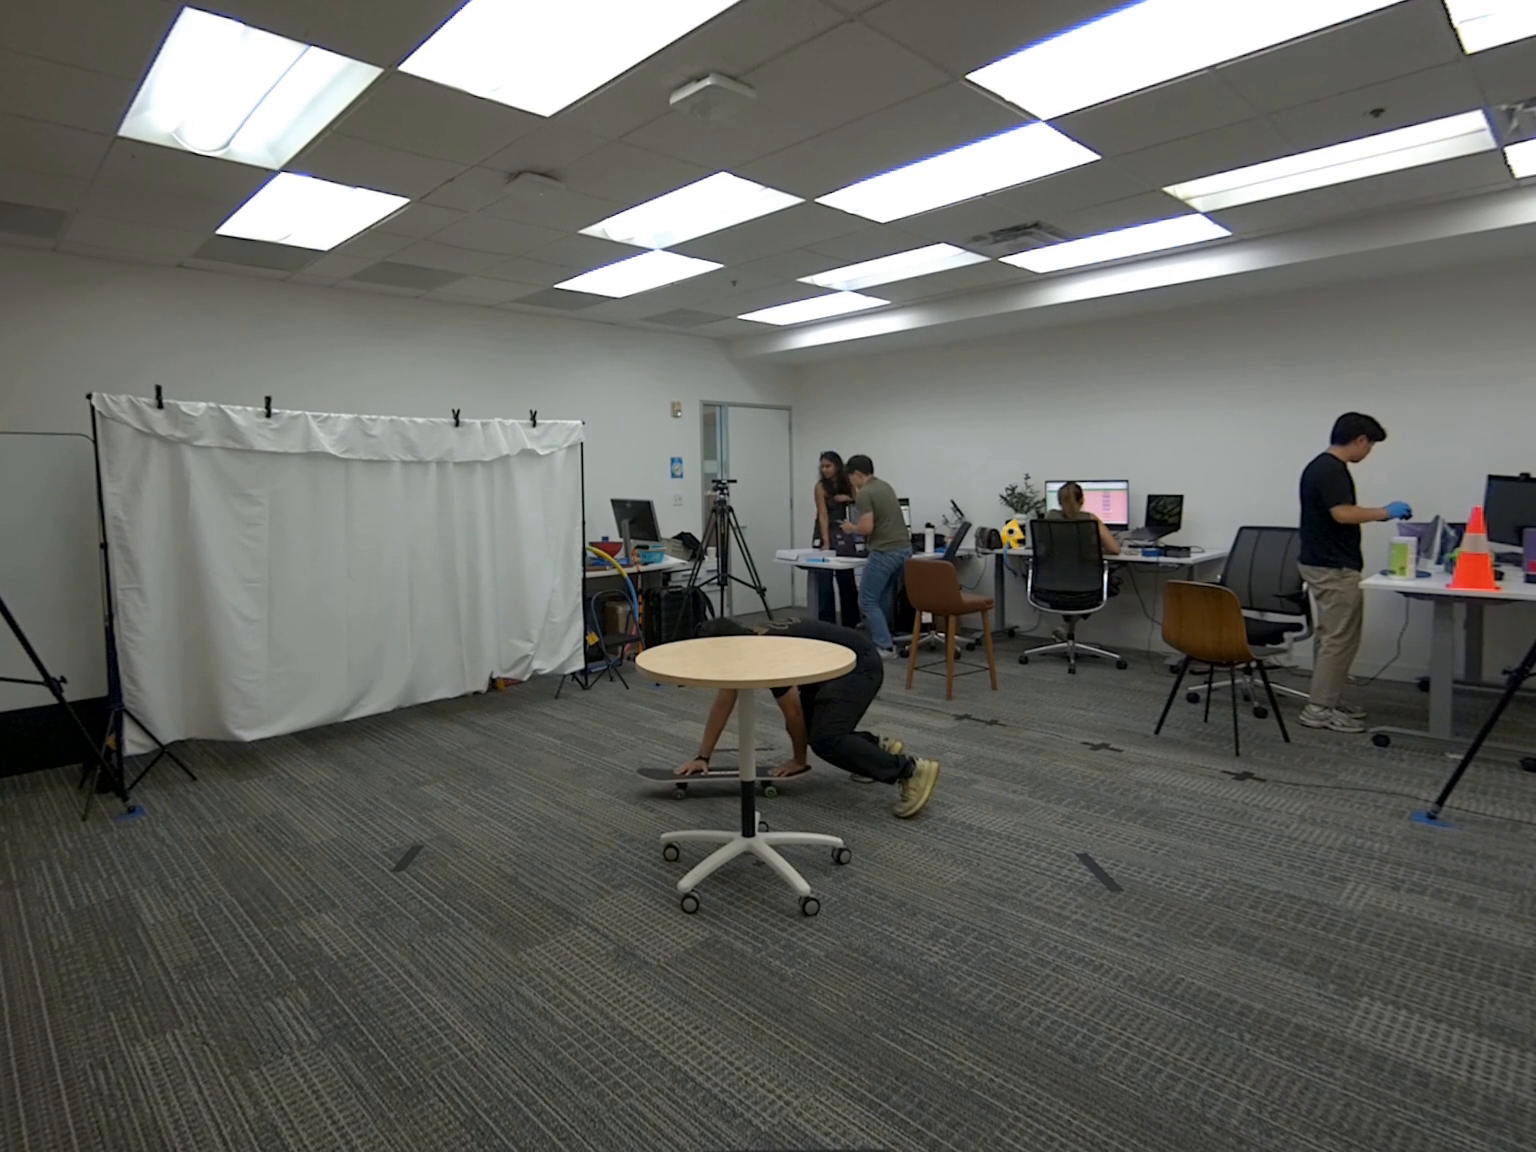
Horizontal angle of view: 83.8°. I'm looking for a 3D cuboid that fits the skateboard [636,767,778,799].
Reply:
[{"bbox_3d":[-0.192,0.915,3.836,0.785,0.110,0.193,-1,1,0],"label":"skateboard"}]
